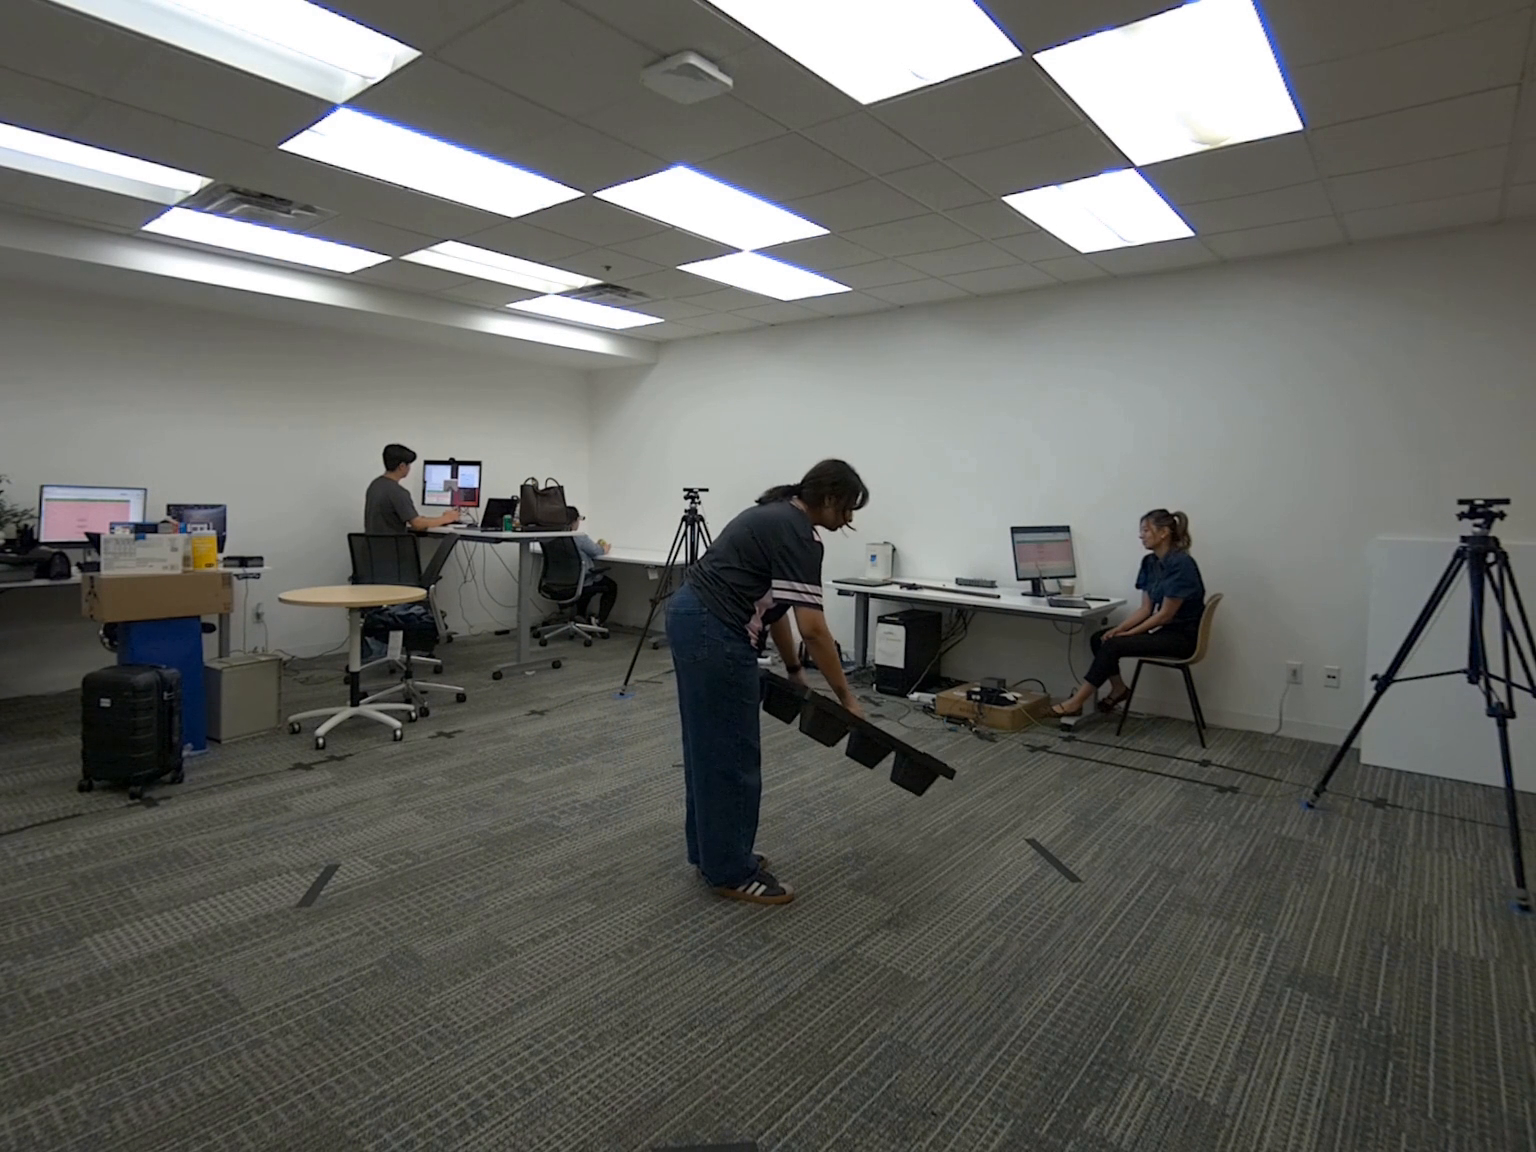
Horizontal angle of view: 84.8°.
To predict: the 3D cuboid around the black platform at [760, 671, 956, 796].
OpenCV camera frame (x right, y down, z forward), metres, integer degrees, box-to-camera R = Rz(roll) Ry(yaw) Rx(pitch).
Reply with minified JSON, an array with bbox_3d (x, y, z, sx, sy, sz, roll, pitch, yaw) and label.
[{"bbox_3d":[0.204,0.532,3.063,0.592,0.144,0.822,32,-8,-17],"label":"black platform"}]
